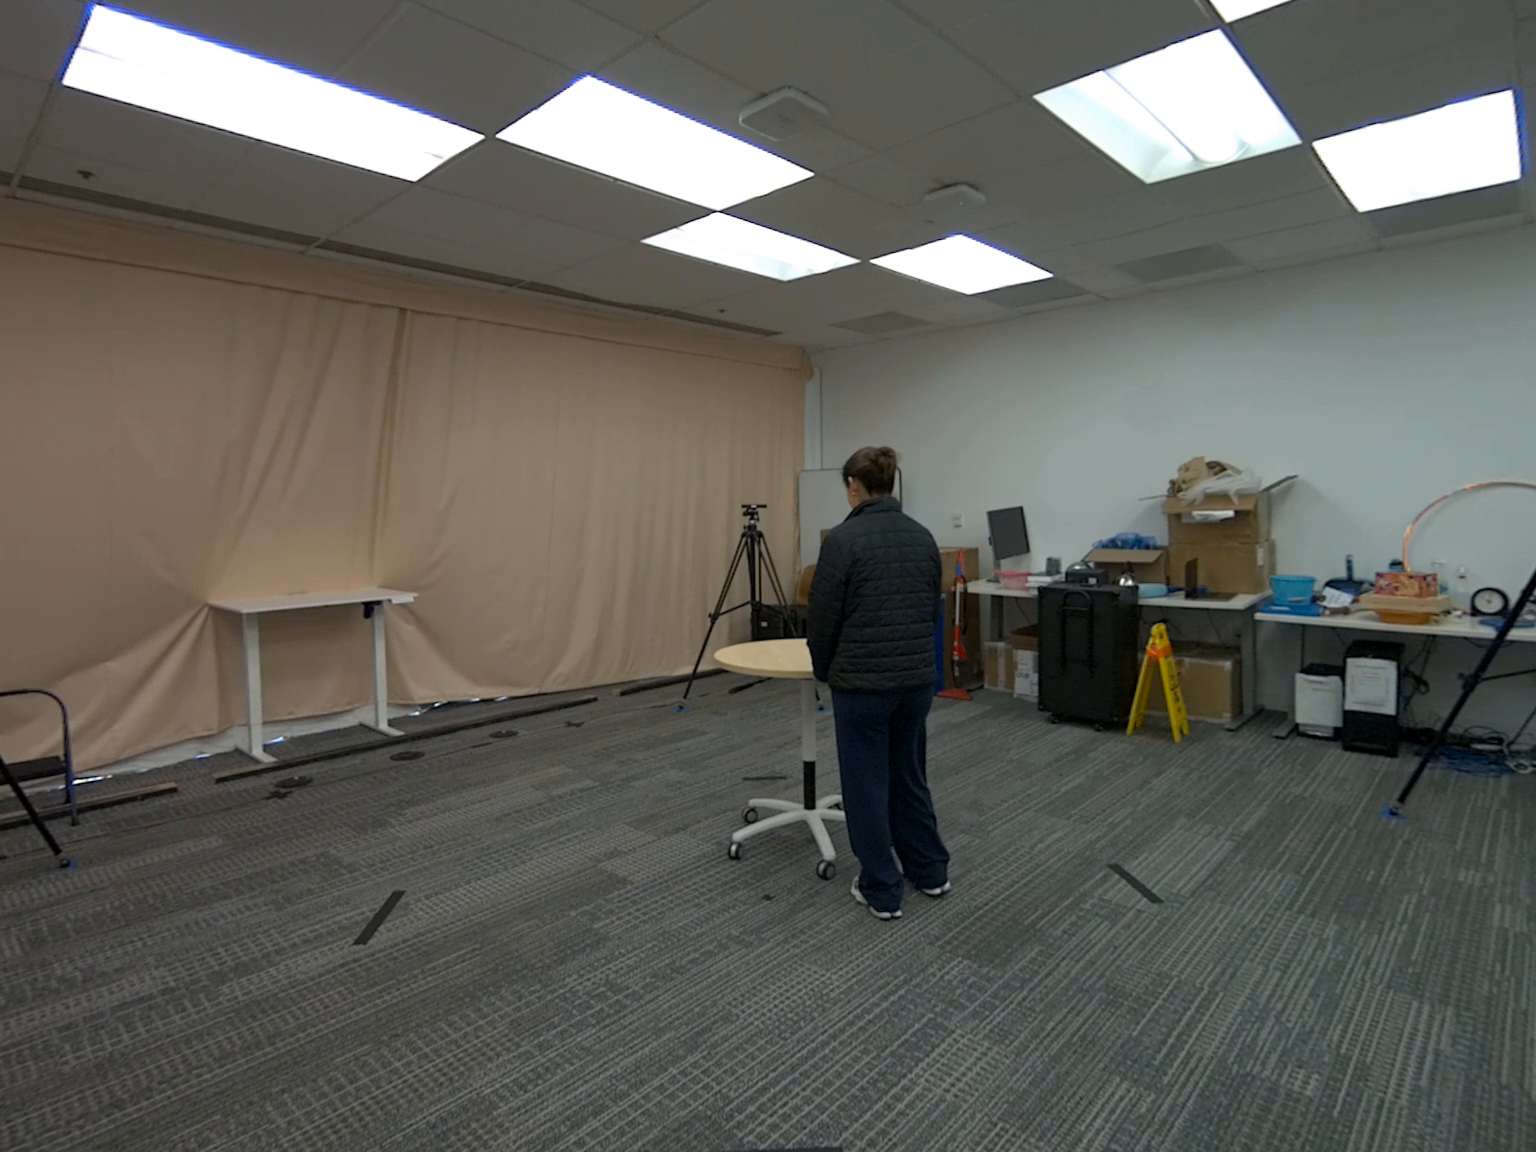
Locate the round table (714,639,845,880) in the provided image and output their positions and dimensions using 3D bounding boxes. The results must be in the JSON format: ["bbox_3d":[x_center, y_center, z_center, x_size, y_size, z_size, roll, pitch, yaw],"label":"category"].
[{"bbox_3d":[0.176,0.704,3.439,0.784,0.785,0.787,-1,3,-2],"label":"round table"}]
